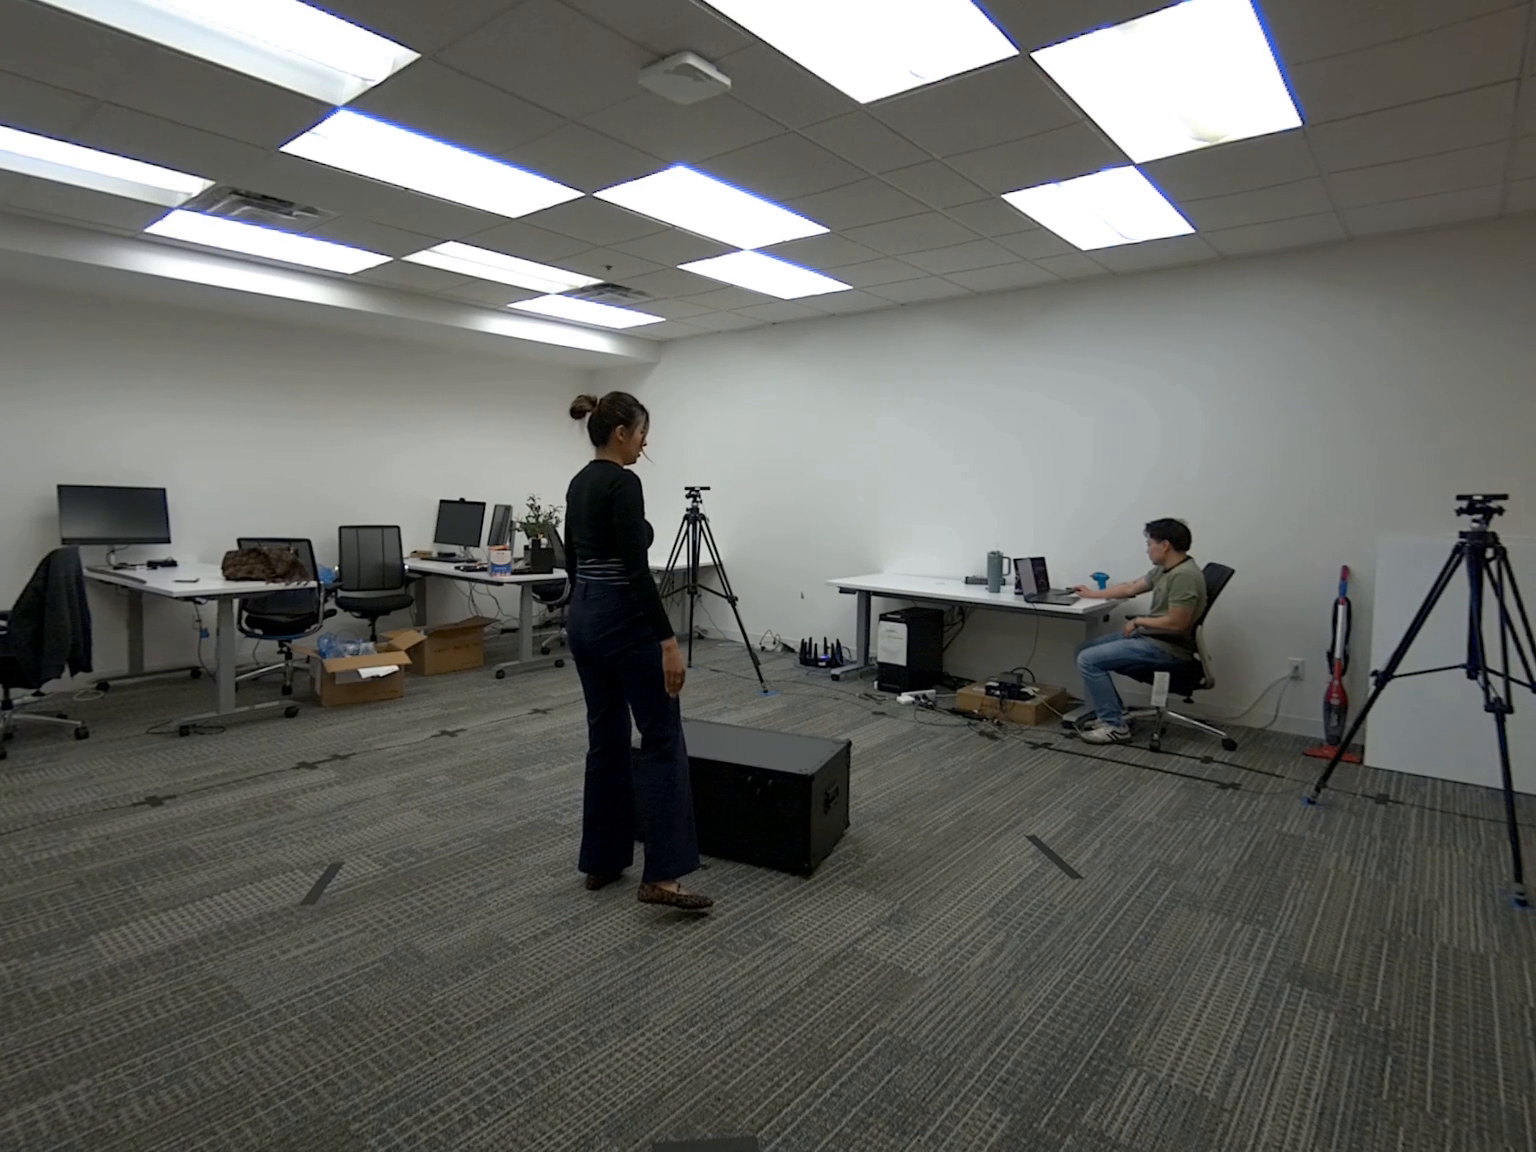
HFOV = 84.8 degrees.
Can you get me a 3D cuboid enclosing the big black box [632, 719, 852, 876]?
[{"bbox_3d":[-0.154,0.844,3.410,0.883,0.394,0.511,3,6,24],"label":"big black box"}]
